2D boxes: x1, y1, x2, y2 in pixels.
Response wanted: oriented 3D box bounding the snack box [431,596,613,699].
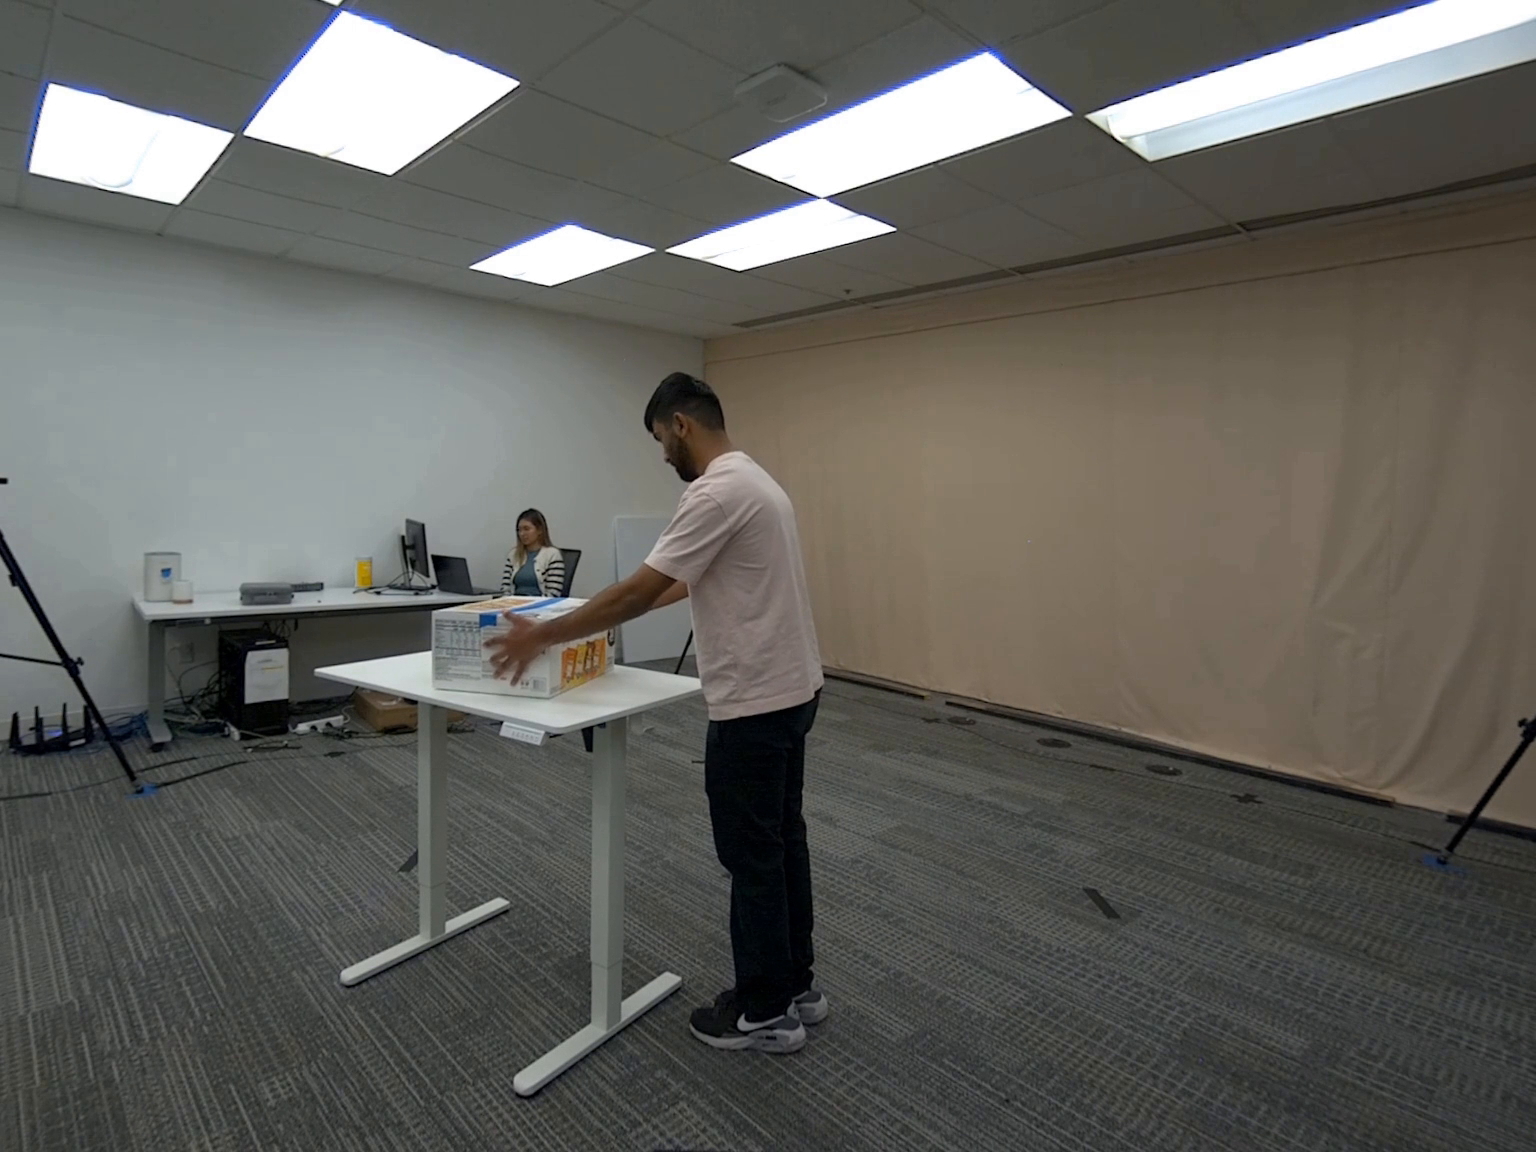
[{"bbox_3d":[-0.656,0.181,2.311,0.344,0.205,0.401,2,5,14],"label":"snack box"}]
